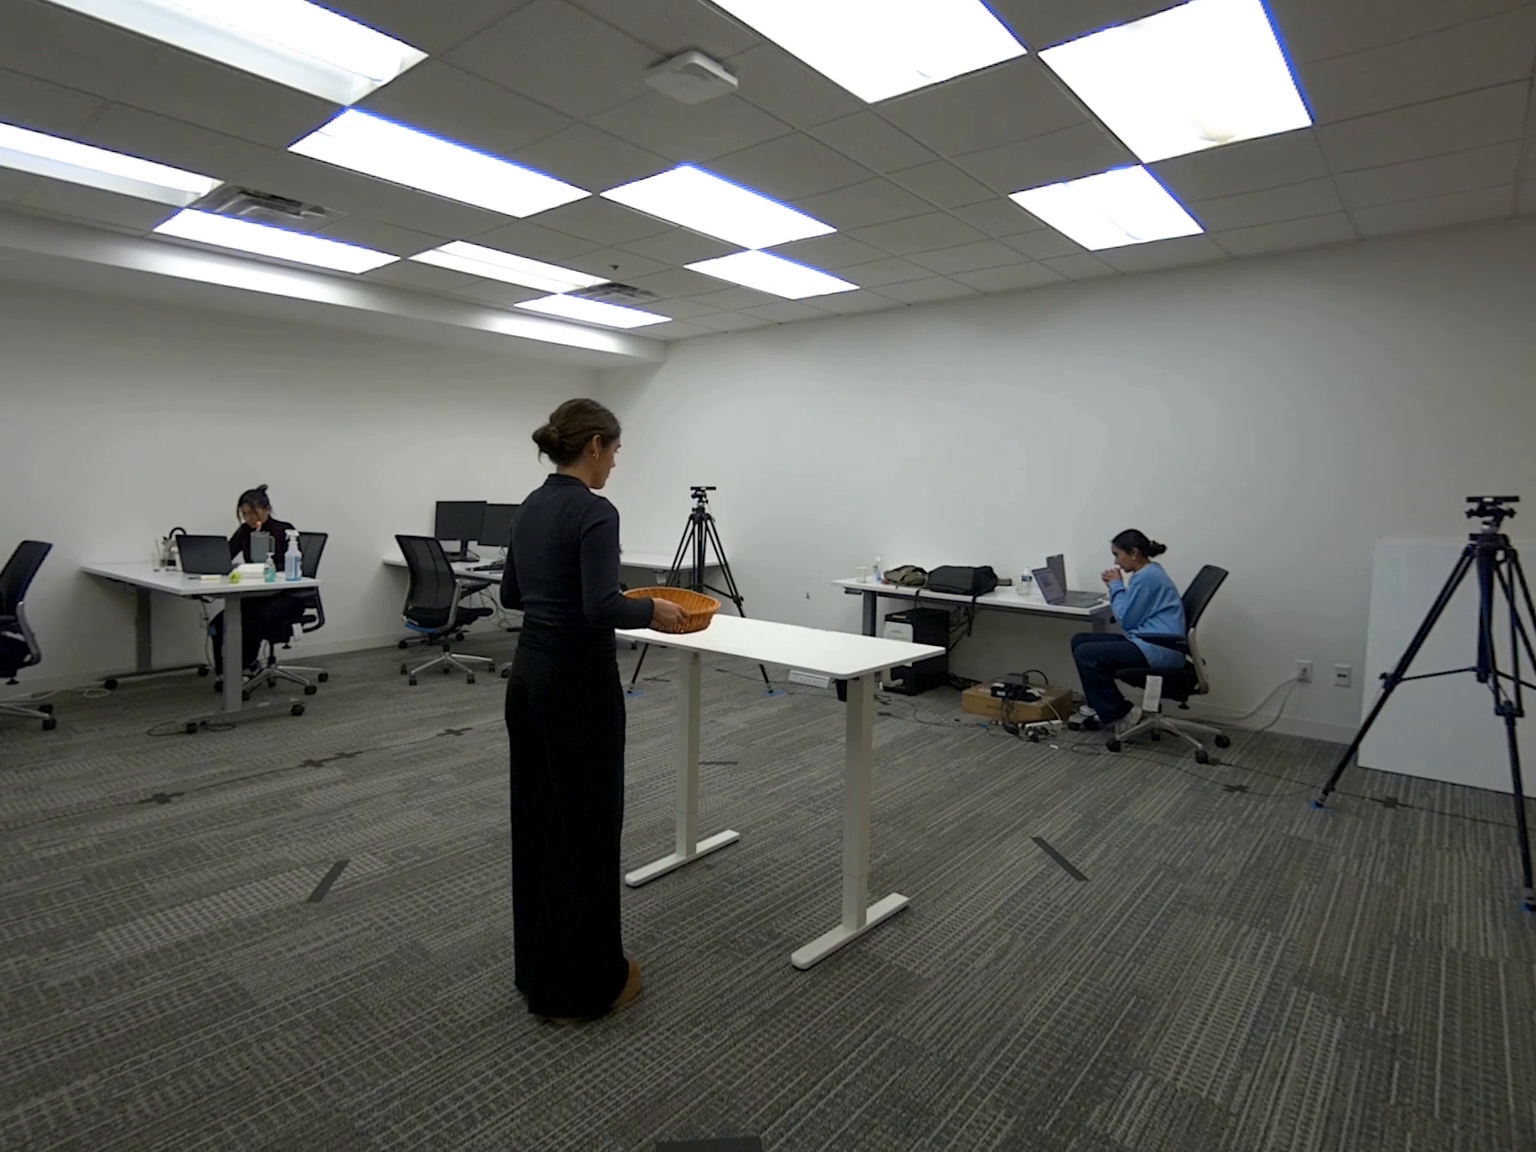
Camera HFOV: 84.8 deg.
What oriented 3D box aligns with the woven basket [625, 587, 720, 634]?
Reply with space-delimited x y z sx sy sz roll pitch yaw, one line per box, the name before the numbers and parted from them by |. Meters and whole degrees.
woven basket | -0.321 0.110 2.509 0.245 0.073 0.363 -9 15 -43
